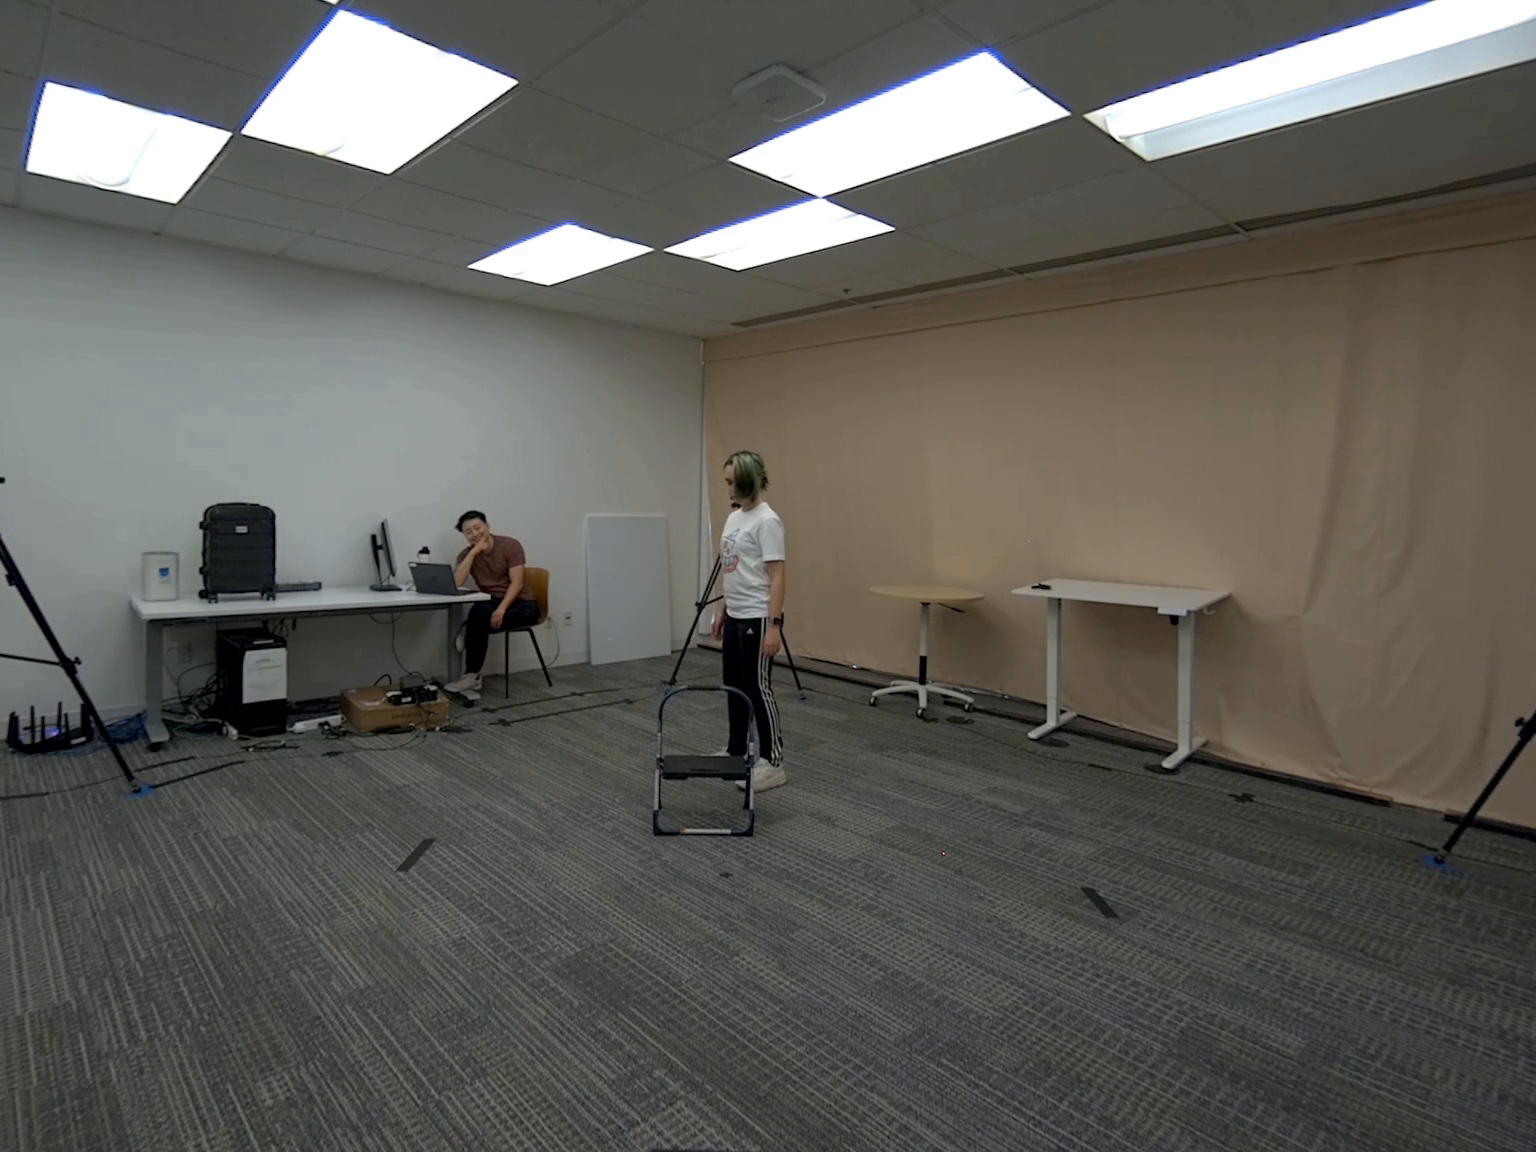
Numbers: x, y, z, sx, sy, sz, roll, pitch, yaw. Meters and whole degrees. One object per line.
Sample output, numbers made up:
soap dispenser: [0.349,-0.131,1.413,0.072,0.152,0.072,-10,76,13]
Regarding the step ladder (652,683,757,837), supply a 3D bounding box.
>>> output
step ladder: [-0.282,0.756,3.611,0.429,0.605,0.351,2,3,-3]
